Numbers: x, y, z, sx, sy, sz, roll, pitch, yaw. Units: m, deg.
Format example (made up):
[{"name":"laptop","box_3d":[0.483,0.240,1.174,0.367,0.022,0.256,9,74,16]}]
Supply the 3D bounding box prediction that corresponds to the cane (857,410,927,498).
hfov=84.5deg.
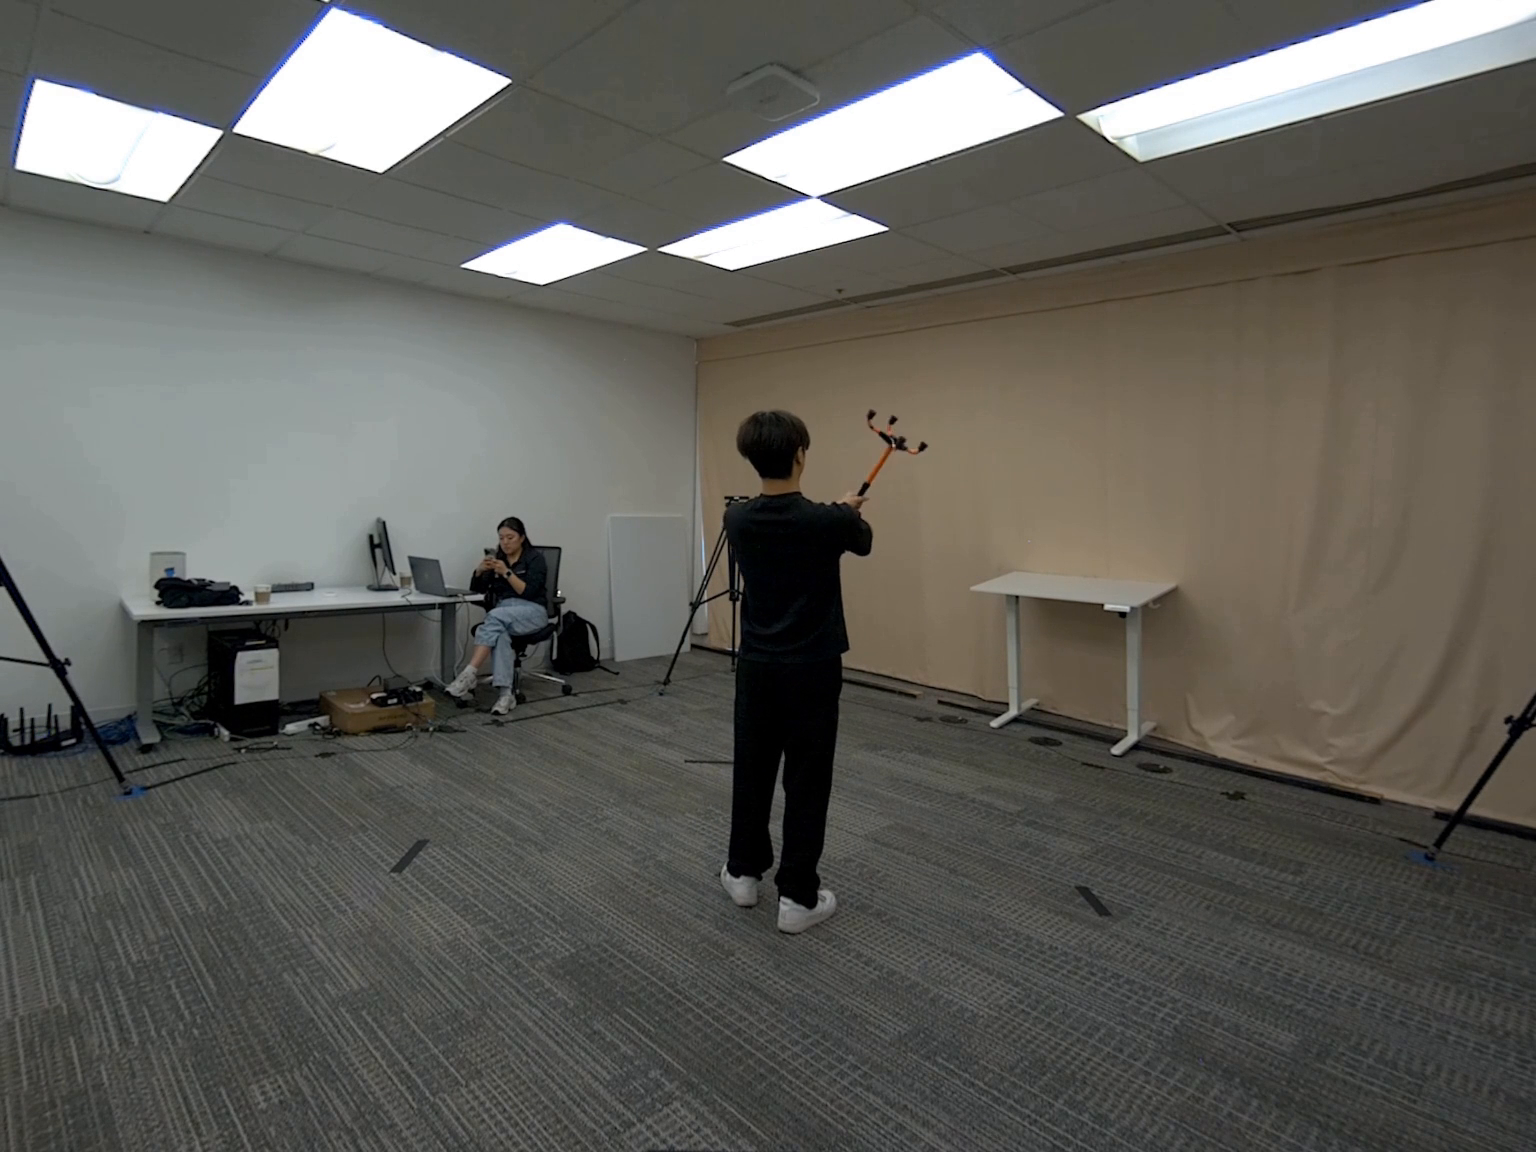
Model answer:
[{"name":"cane","box_3d":[0.249,-0.181,3.163,0.148,0.903,0.213,6,35,-41]}]
